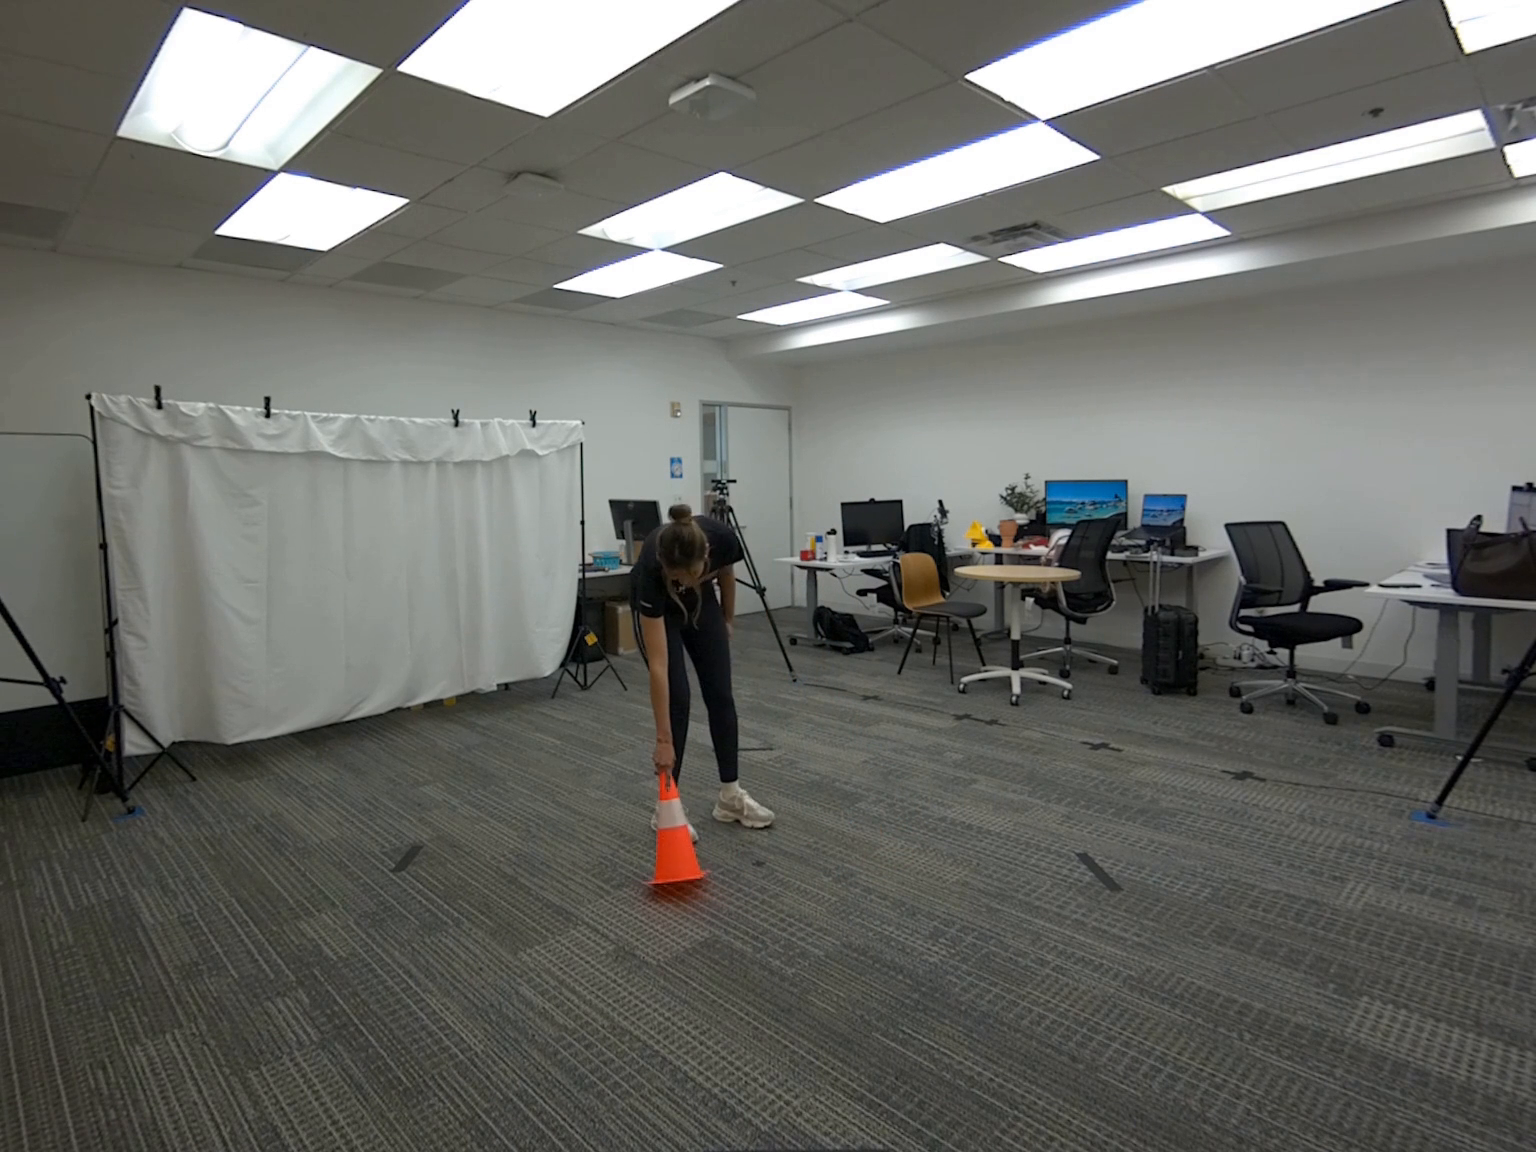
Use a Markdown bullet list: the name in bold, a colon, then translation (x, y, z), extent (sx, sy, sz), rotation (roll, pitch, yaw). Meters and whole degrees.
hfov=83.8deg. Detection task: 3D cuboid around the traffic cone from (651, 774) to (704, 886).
- **traffic cone**: translation (-0.323, 0.856, 2.972), extent (0.204, 0.388, 0.202), rotation (-5, -11, 2)
